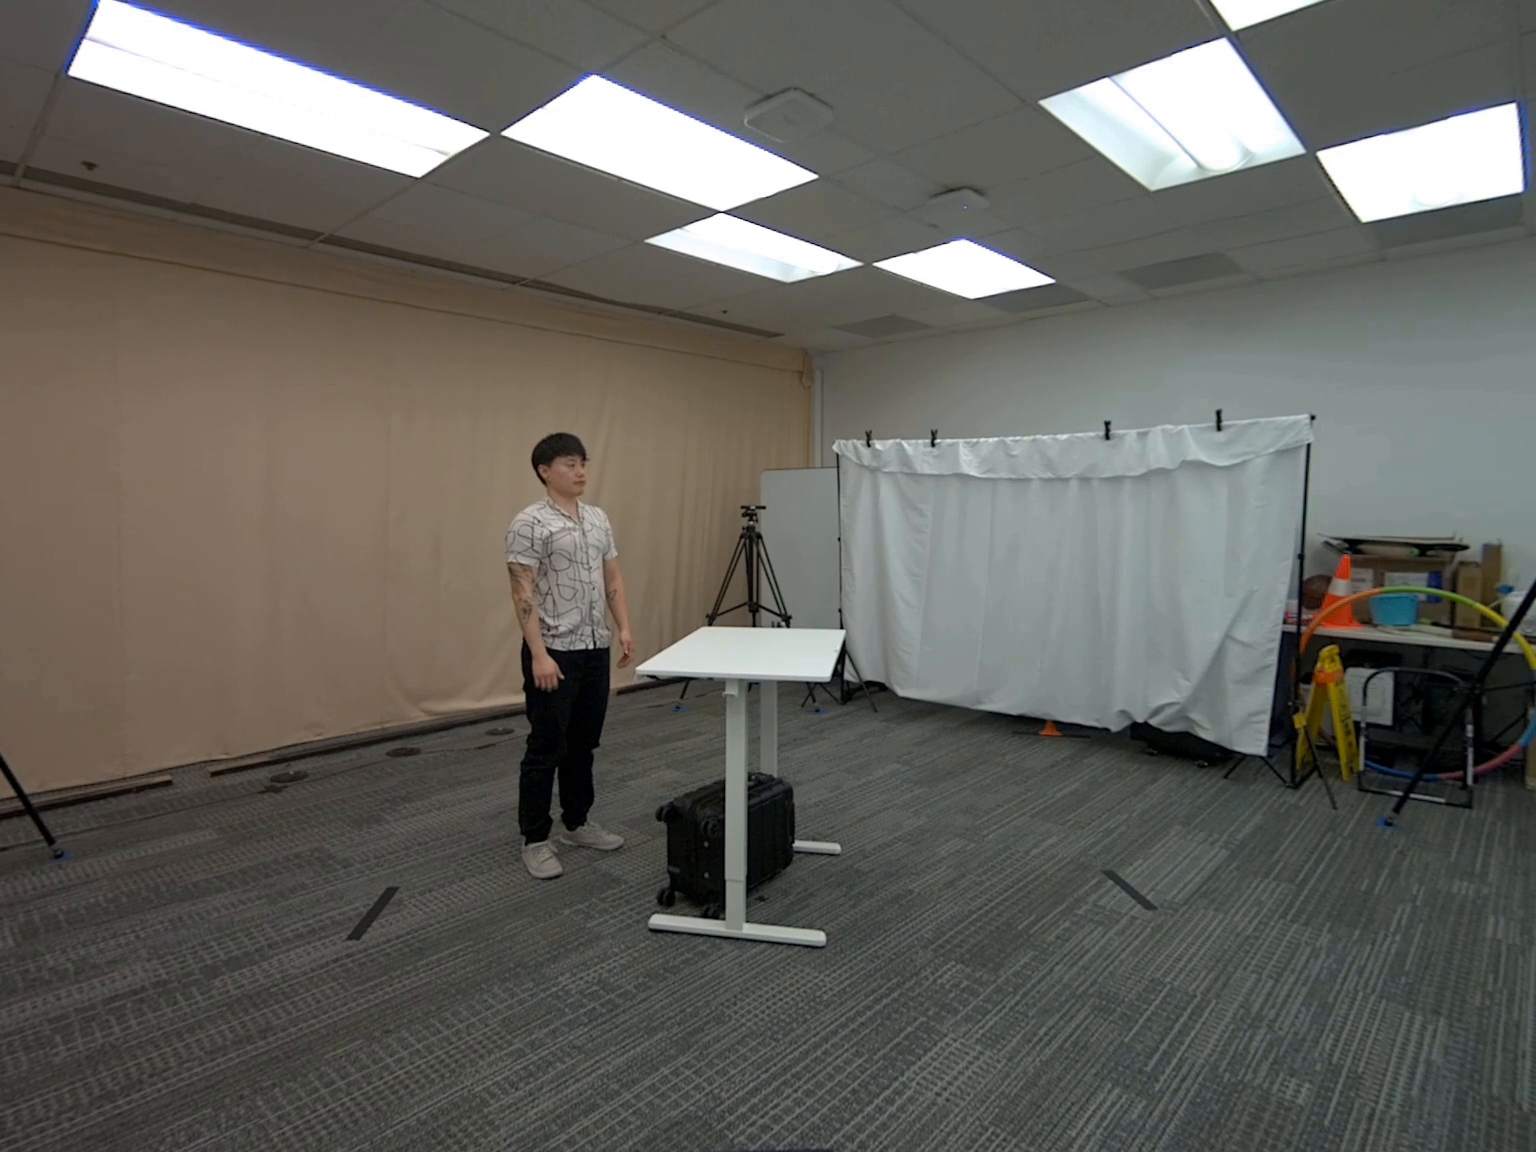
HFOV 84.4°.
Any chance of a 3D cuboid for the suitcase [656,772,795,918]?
[{"bbox_3d":[-0.133,0.938,3.070,0.256,0.374,0.534,3,6,35],"label":"suitcase"}]
